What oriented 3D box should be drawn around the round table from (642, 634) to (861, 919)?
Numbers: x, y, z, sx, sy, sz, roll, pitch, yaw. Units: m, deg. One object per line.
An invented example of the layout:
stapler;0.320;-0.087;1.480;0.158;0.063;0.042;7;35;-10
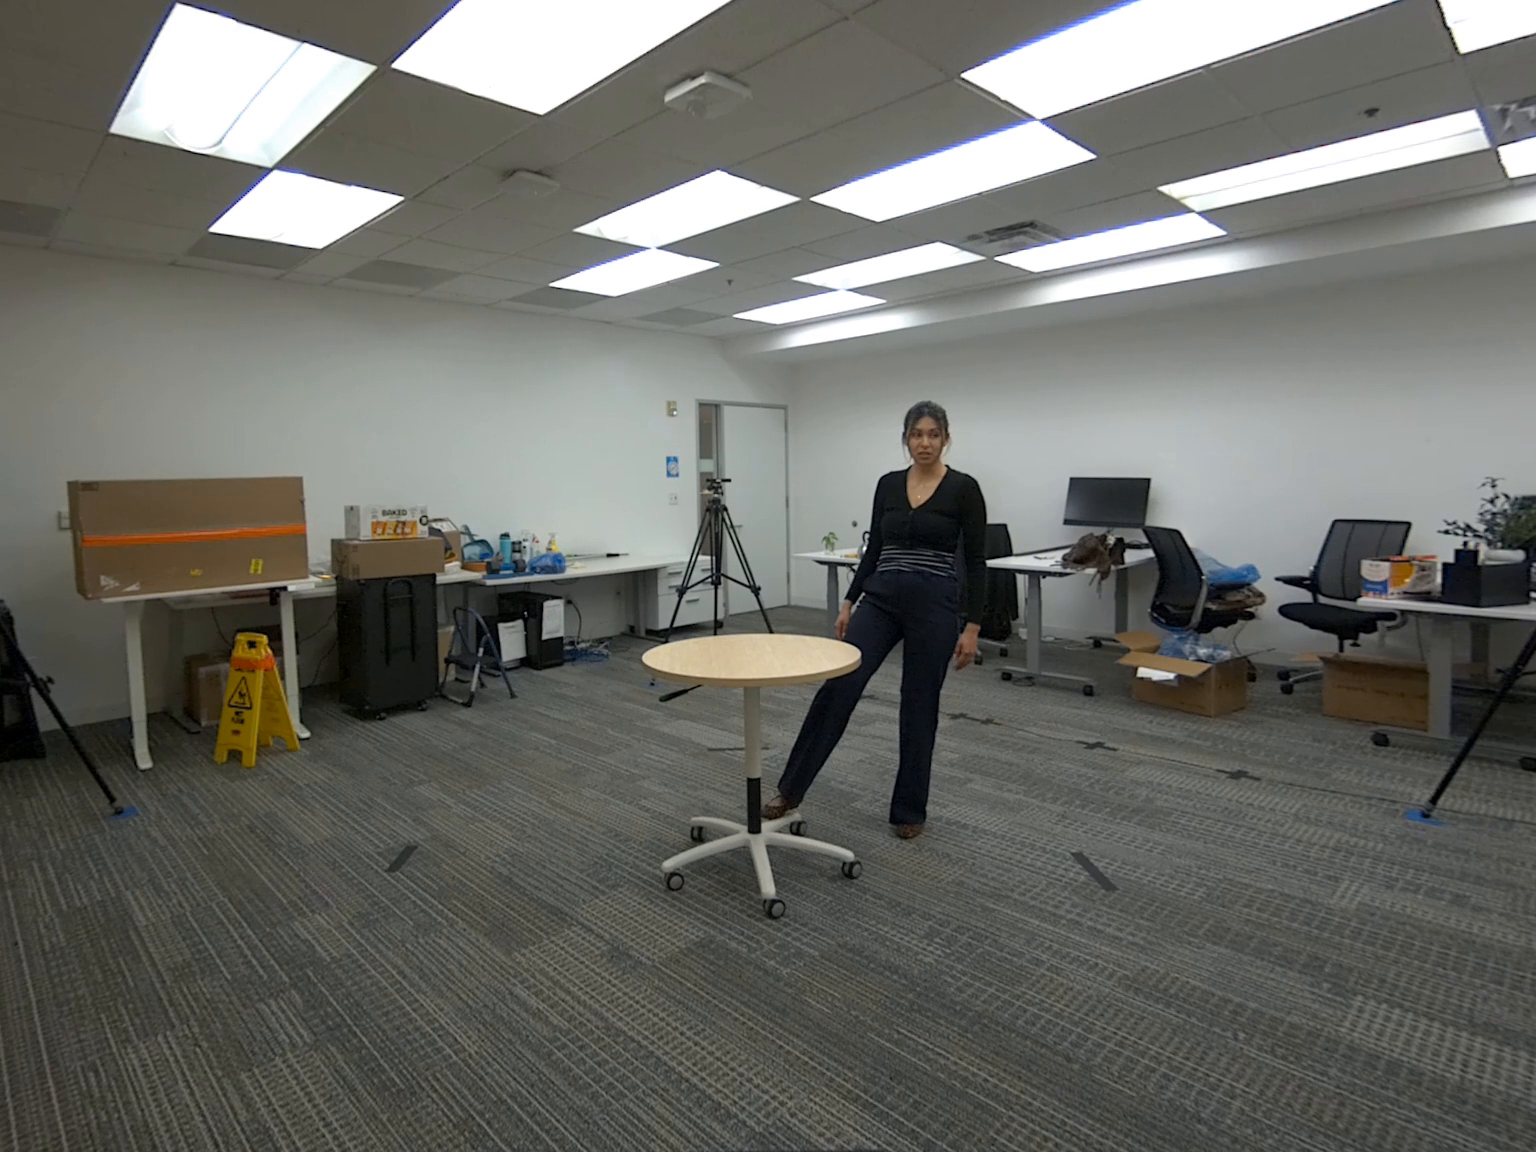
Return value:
round table;-0.047;0.663;3.027;0.763;0.791;0.768;-2;5;-2
